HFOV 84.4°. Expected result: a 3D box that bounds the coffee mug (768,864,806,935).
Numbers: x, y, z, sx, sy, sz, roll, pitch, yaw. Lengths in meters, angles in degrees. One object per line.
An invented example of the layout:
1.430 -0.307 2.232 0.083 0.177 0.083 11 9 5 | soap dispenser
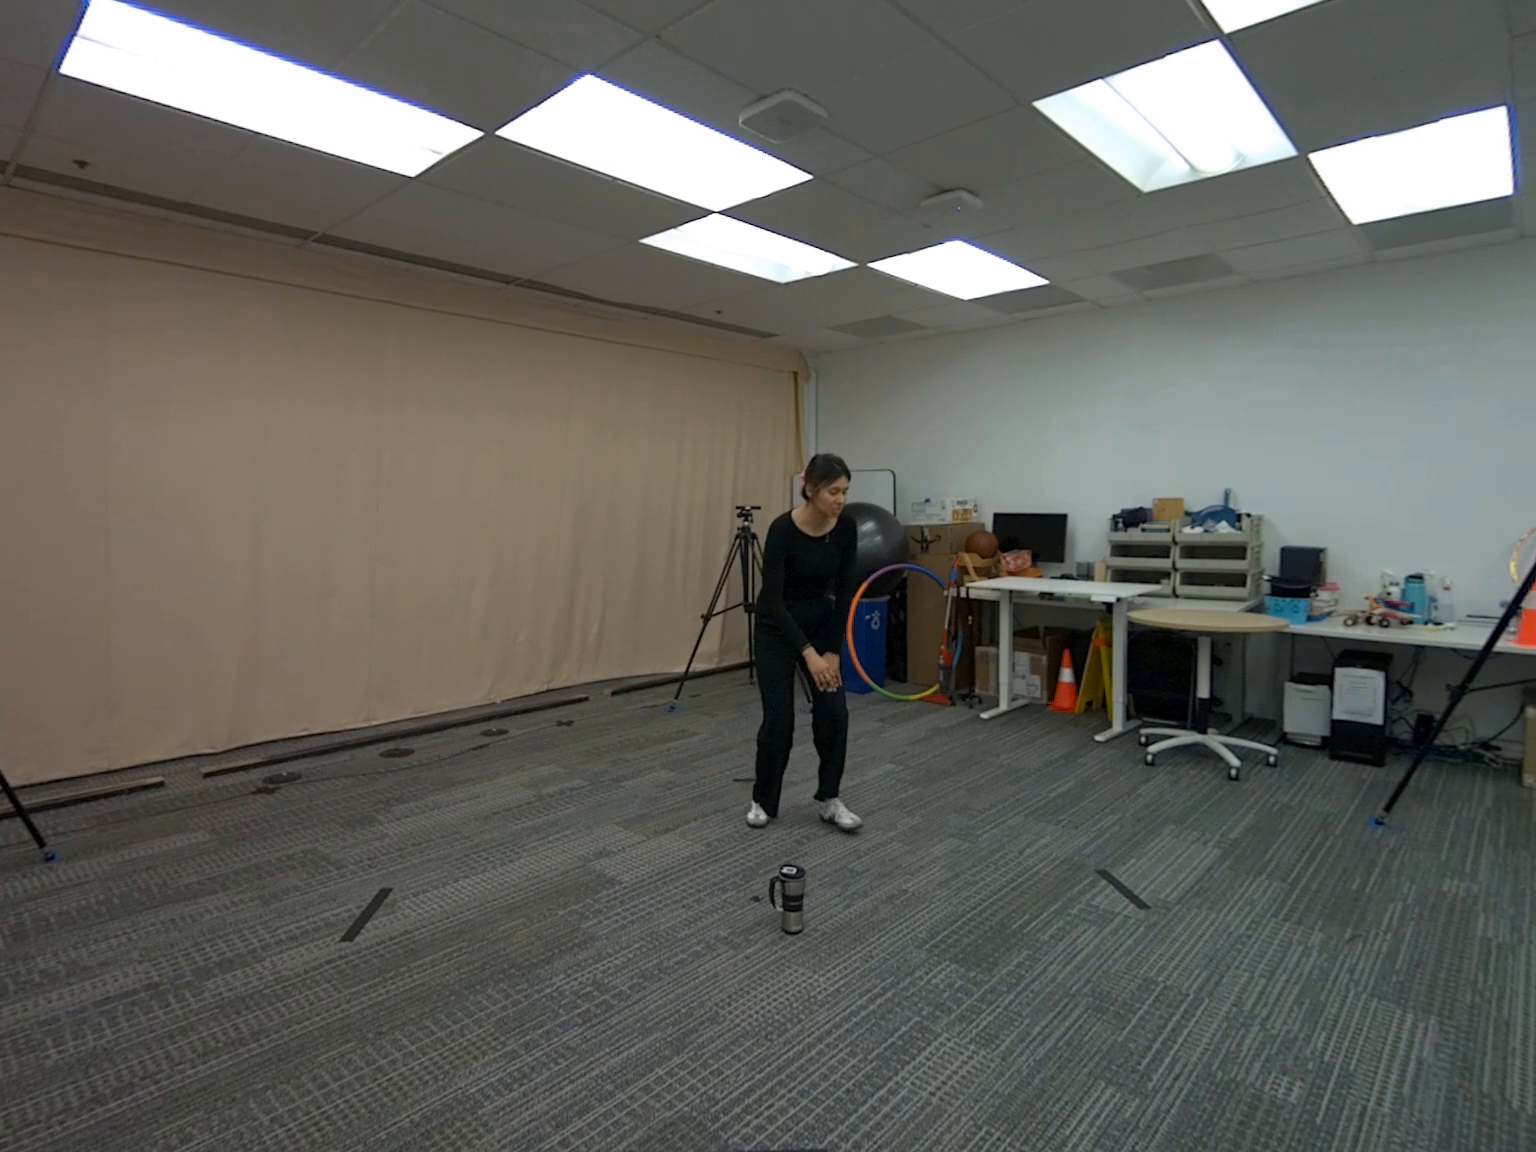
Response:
0.060 1.056 2.770 0.124 0.202 0.086 5 6 16 | coffee mug
